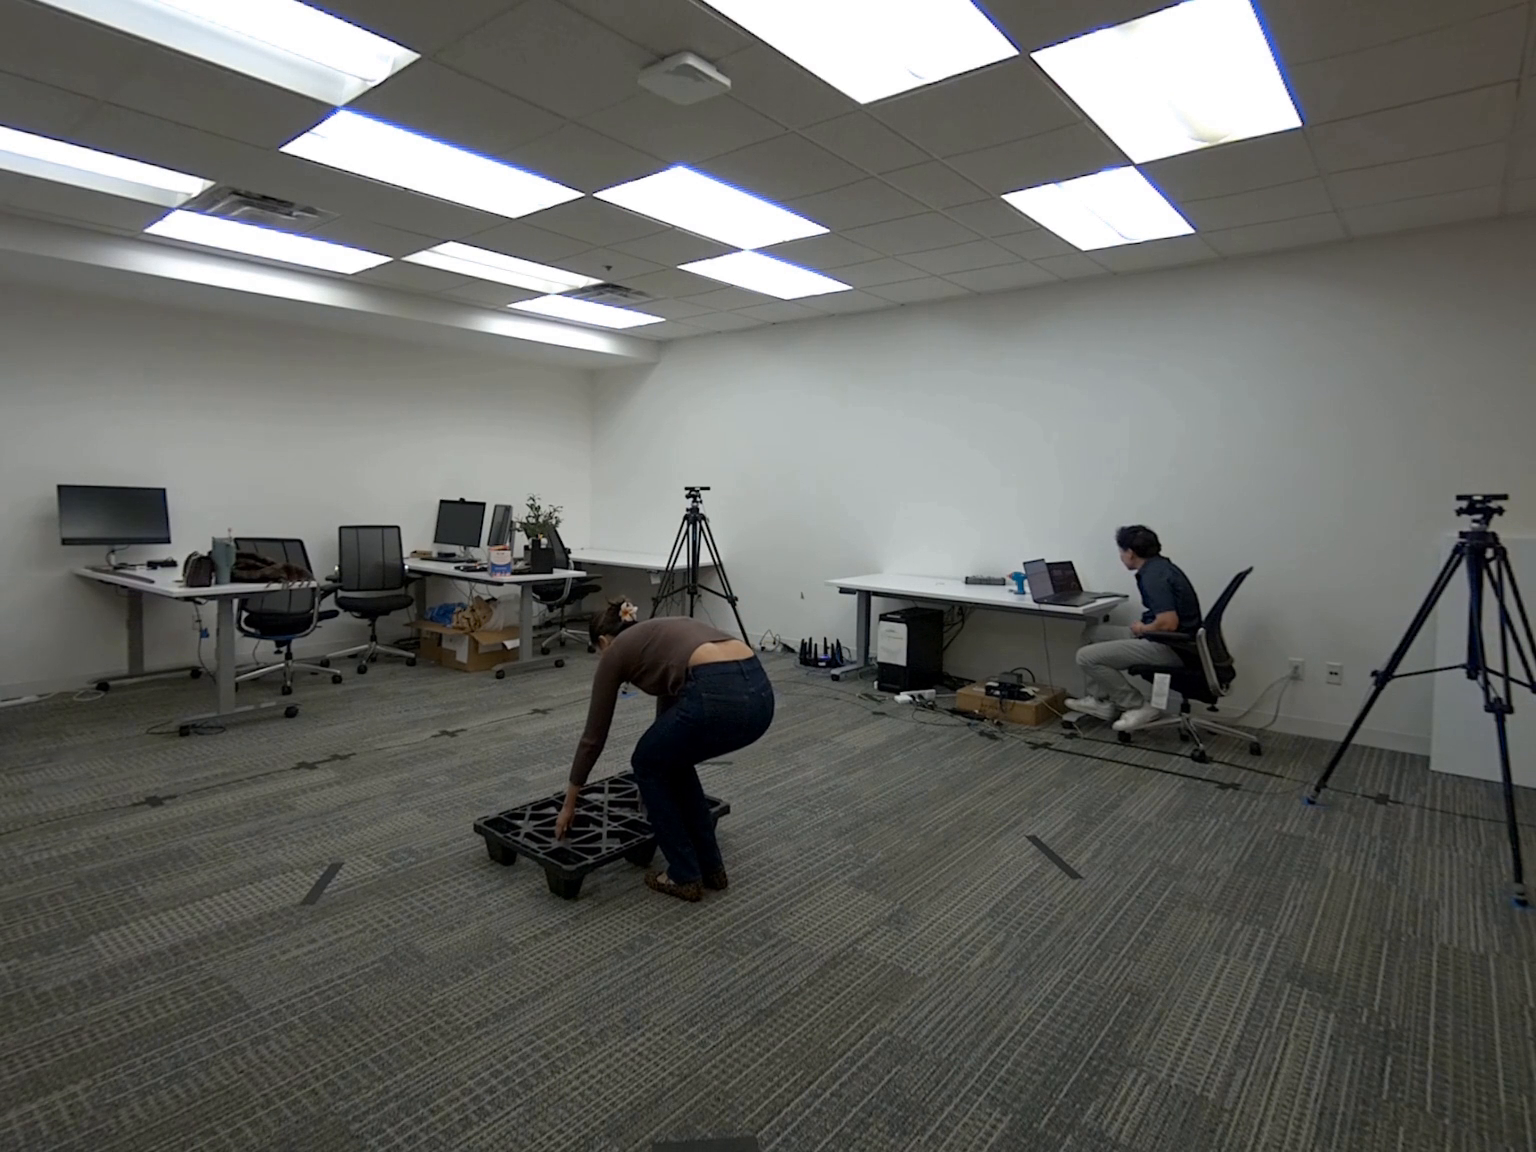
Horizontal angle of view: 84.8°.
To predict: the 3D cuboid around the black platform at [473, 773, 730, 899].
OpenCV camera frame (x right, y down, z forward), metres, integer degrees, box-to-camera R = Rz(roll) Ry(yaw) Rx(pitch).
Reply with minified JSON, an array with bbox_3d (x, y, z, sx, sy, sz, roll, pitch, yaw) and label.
[{"bbox_3d":[-0.630,0.970,3.268,0.626,0.142,0.782,6,9,40],"label":"black platform"}]
